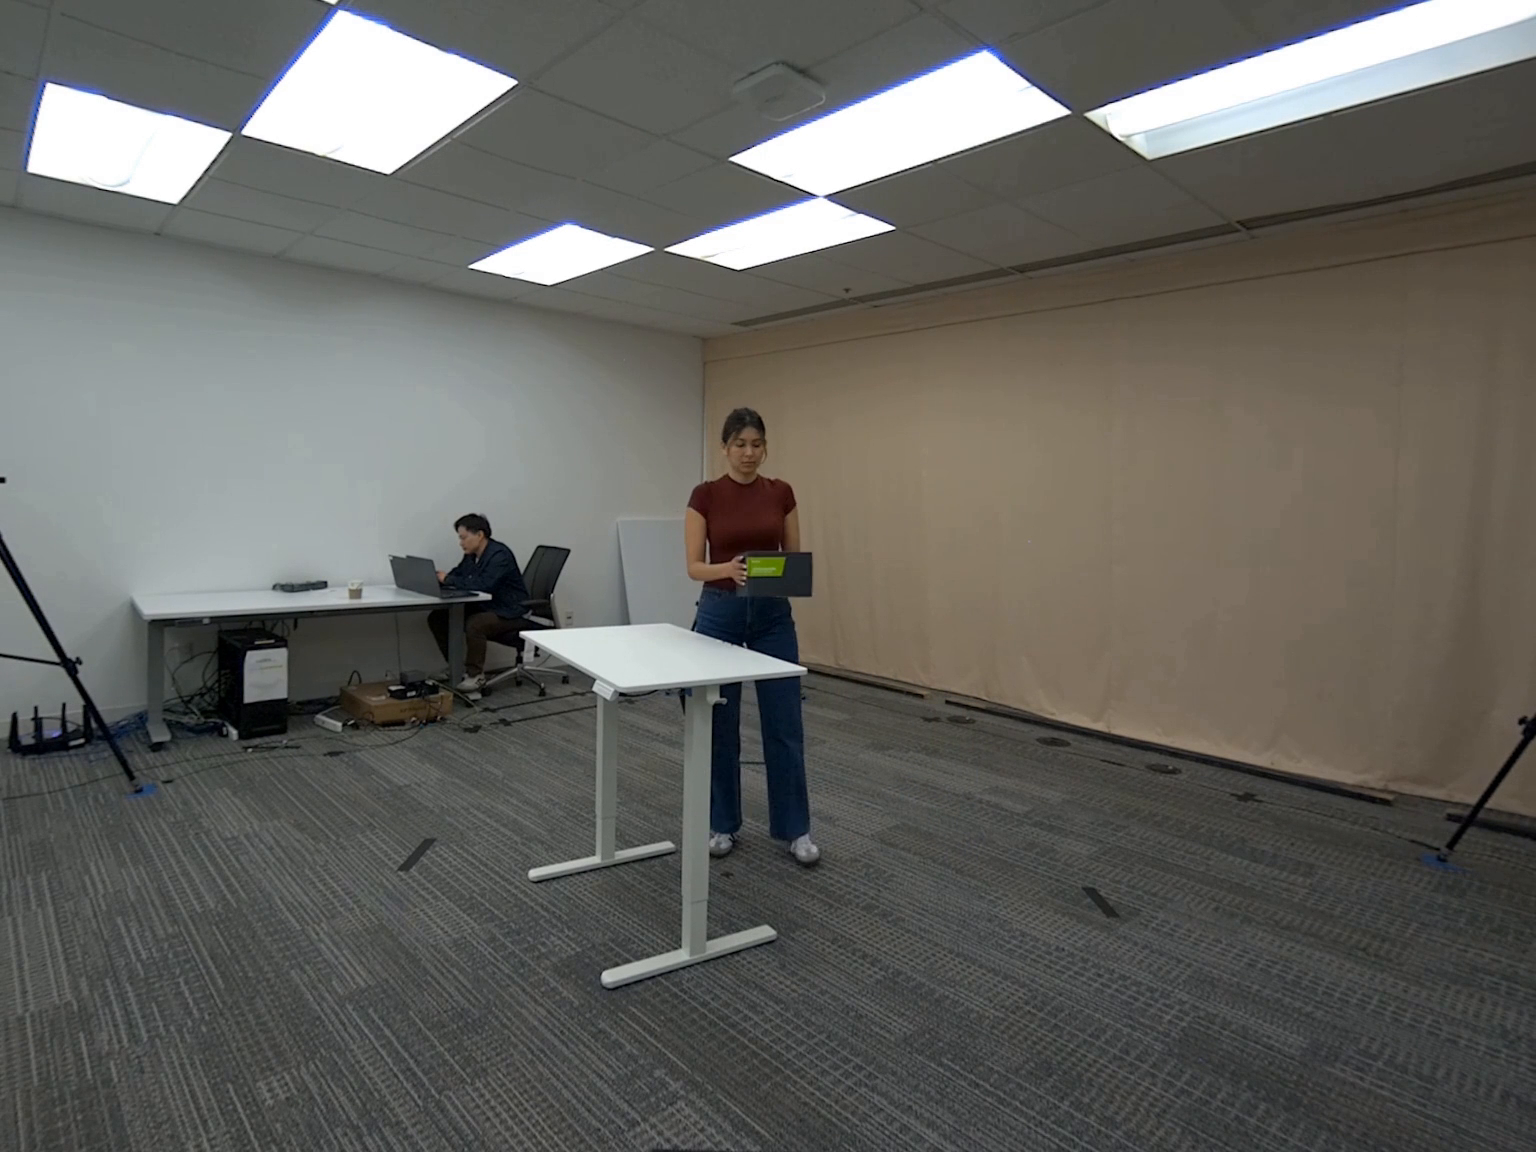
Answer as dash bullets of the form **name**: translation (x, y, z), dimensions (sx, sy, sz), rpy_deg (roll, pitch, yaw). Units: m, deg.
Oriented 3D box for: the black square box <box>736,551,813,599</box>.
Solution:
- **black square box**: translation (0.024, -0.006, 2.990), dimensions (0.227, 0.156, 0.218), rpy_deg (0, 0, -7)
